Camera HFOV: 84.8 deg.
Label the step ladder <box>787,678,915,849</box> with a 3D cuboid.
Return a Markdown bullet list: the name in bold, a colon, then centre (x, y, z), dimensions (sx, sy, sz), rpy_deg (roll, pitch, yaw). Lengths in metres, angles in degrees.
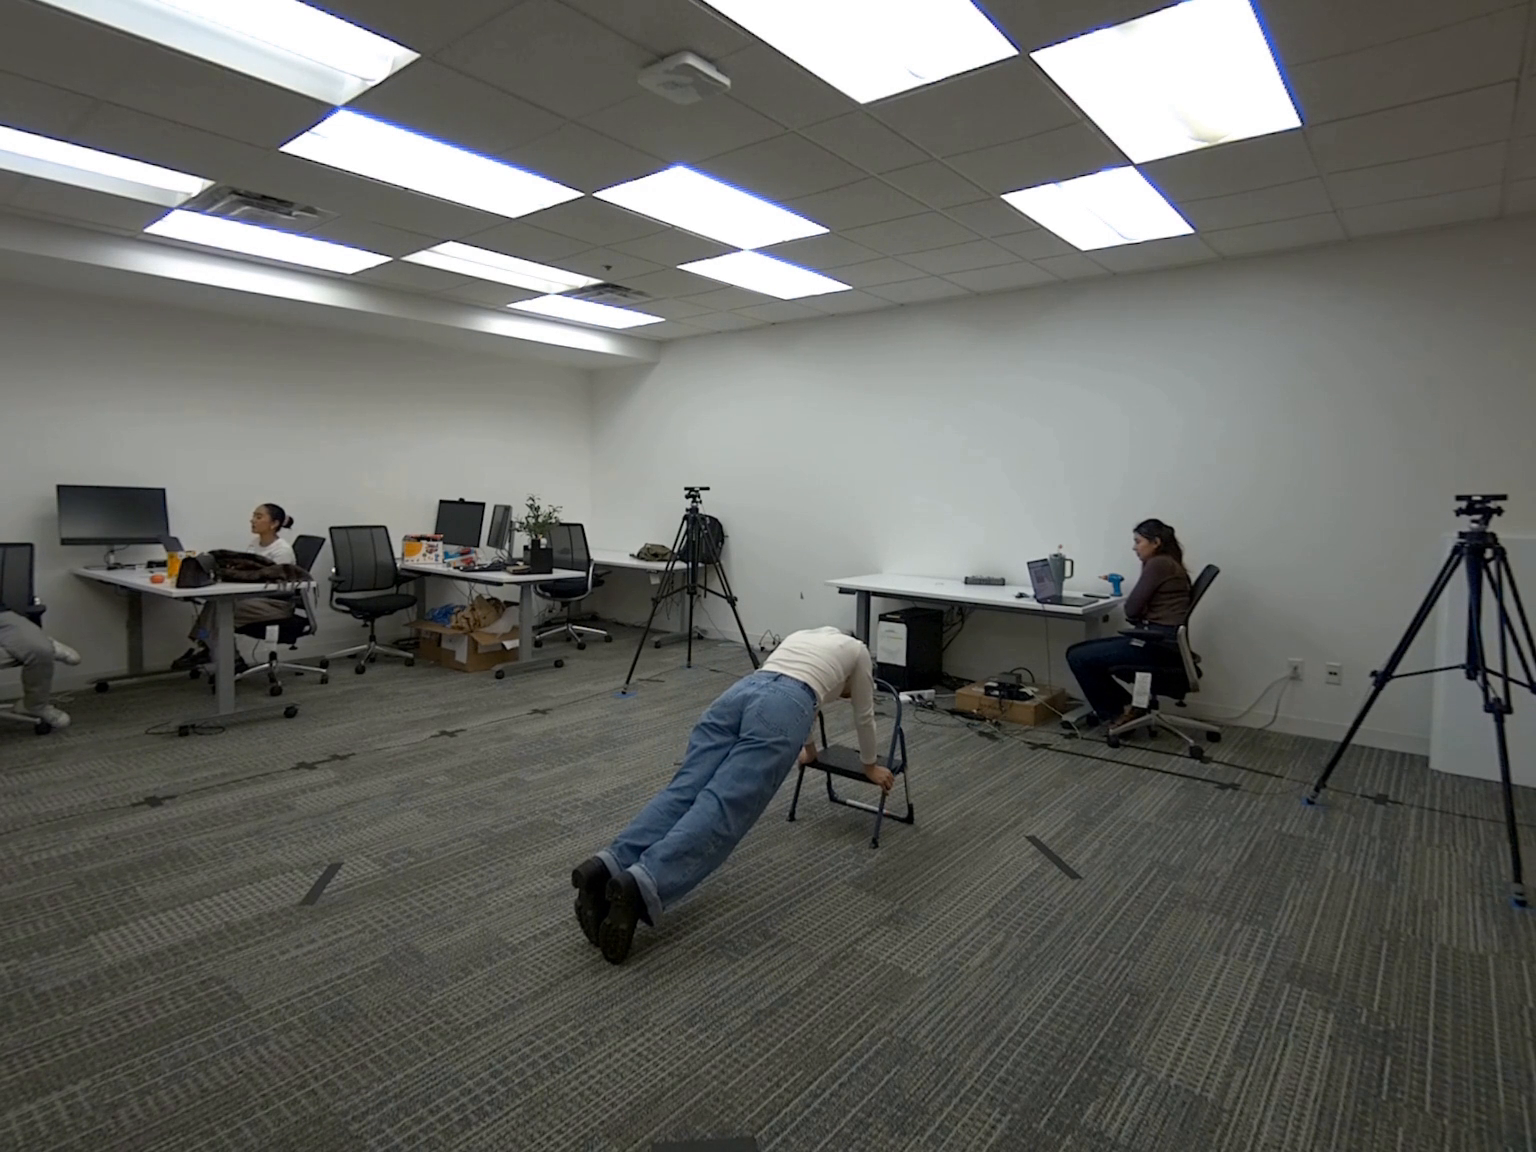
- **step ladder**: centre (0.352, 0.730, 3.563), dimensions (0.445, 0.604, 0.339), rpy_deg (4, 4, 38)
